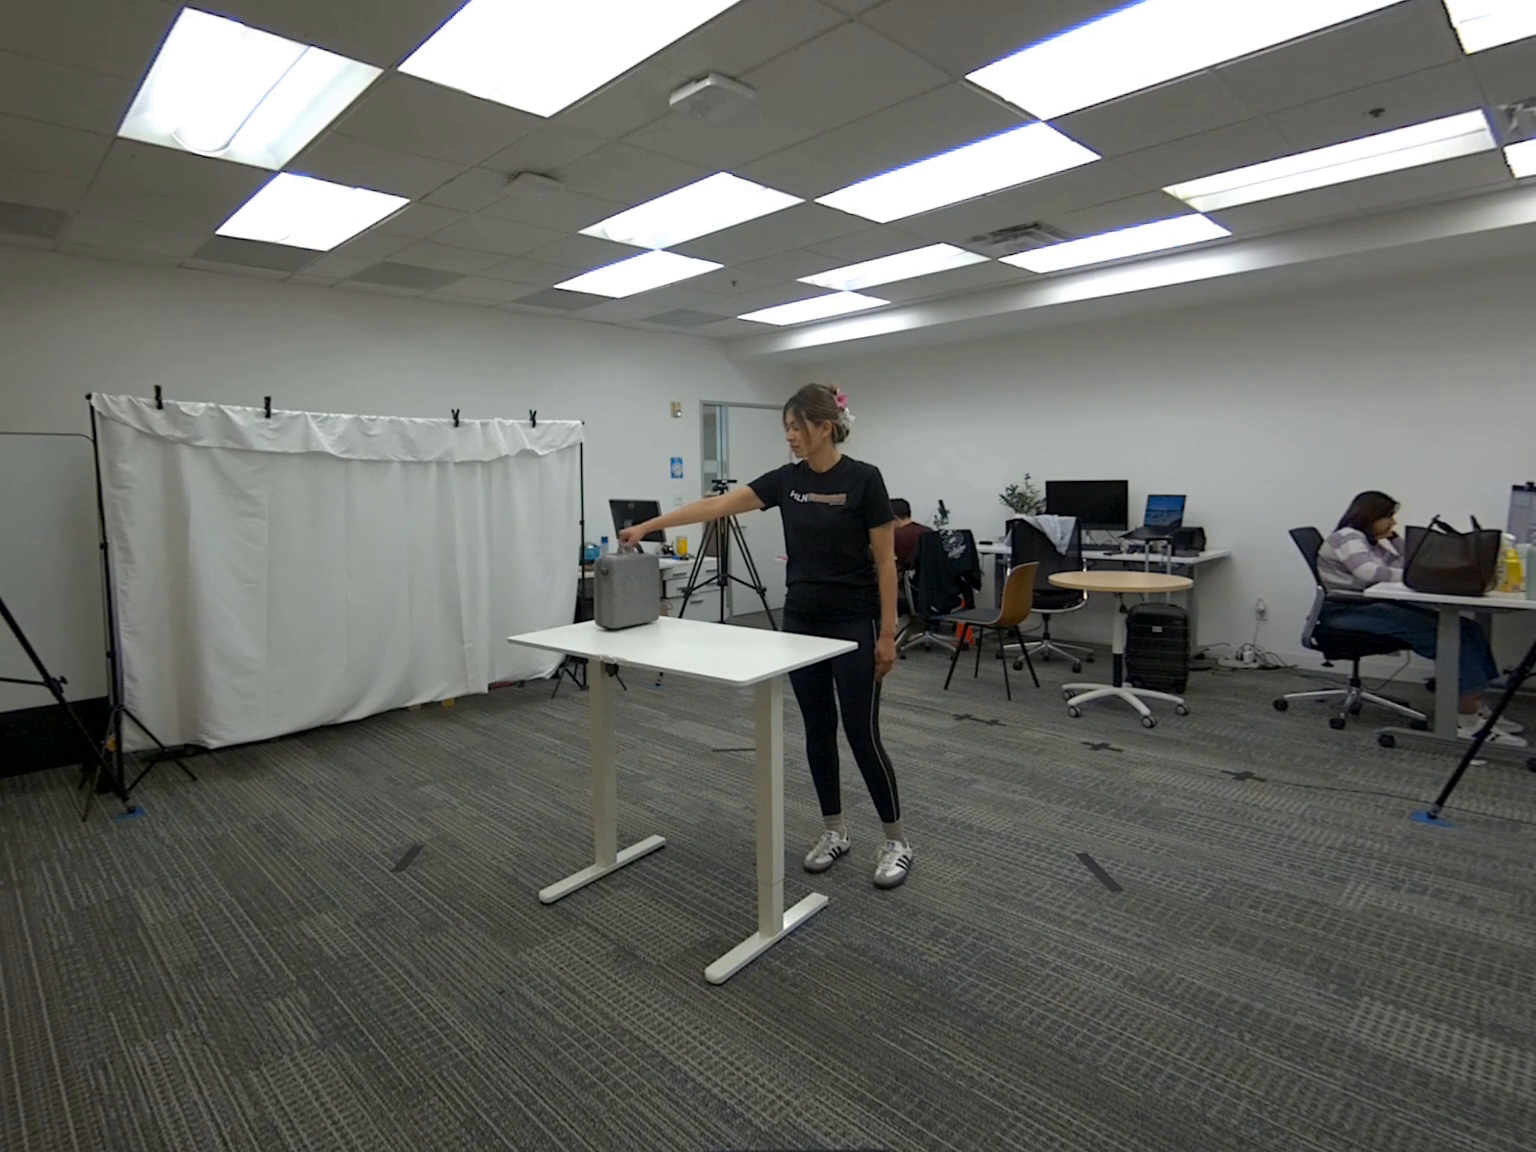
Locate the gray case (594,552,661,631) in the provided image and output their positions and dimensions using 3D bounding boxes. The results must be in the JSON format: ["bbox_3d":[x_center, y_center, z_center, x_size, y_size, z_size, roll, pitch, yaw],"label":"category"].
[{"bbox_3d":[-0.494,0.045,3.022,0.107,0.259,0.250,4,6,35],"label":"gray case"}]
